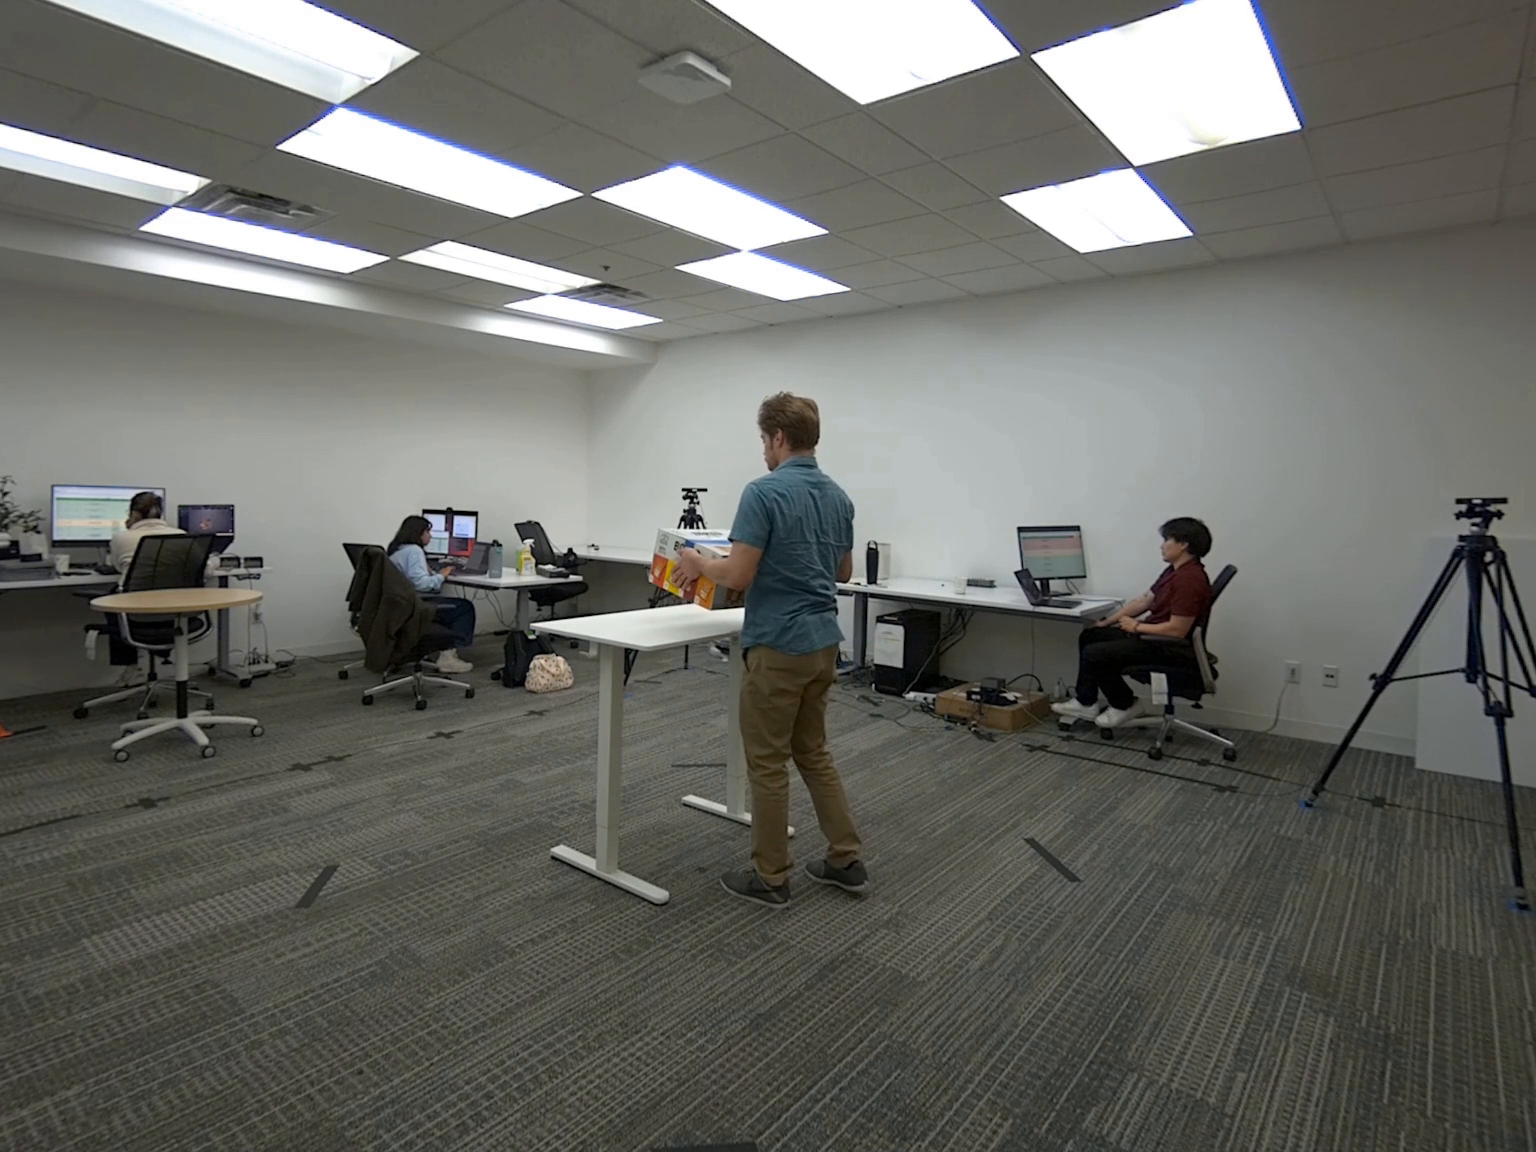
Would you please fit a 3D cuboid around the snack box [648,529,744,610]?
[{"bbox_3d":[-0.174,-0.033,3.147,0.354,0.204,0.392,23,17,40],"label":"snack box"}]
